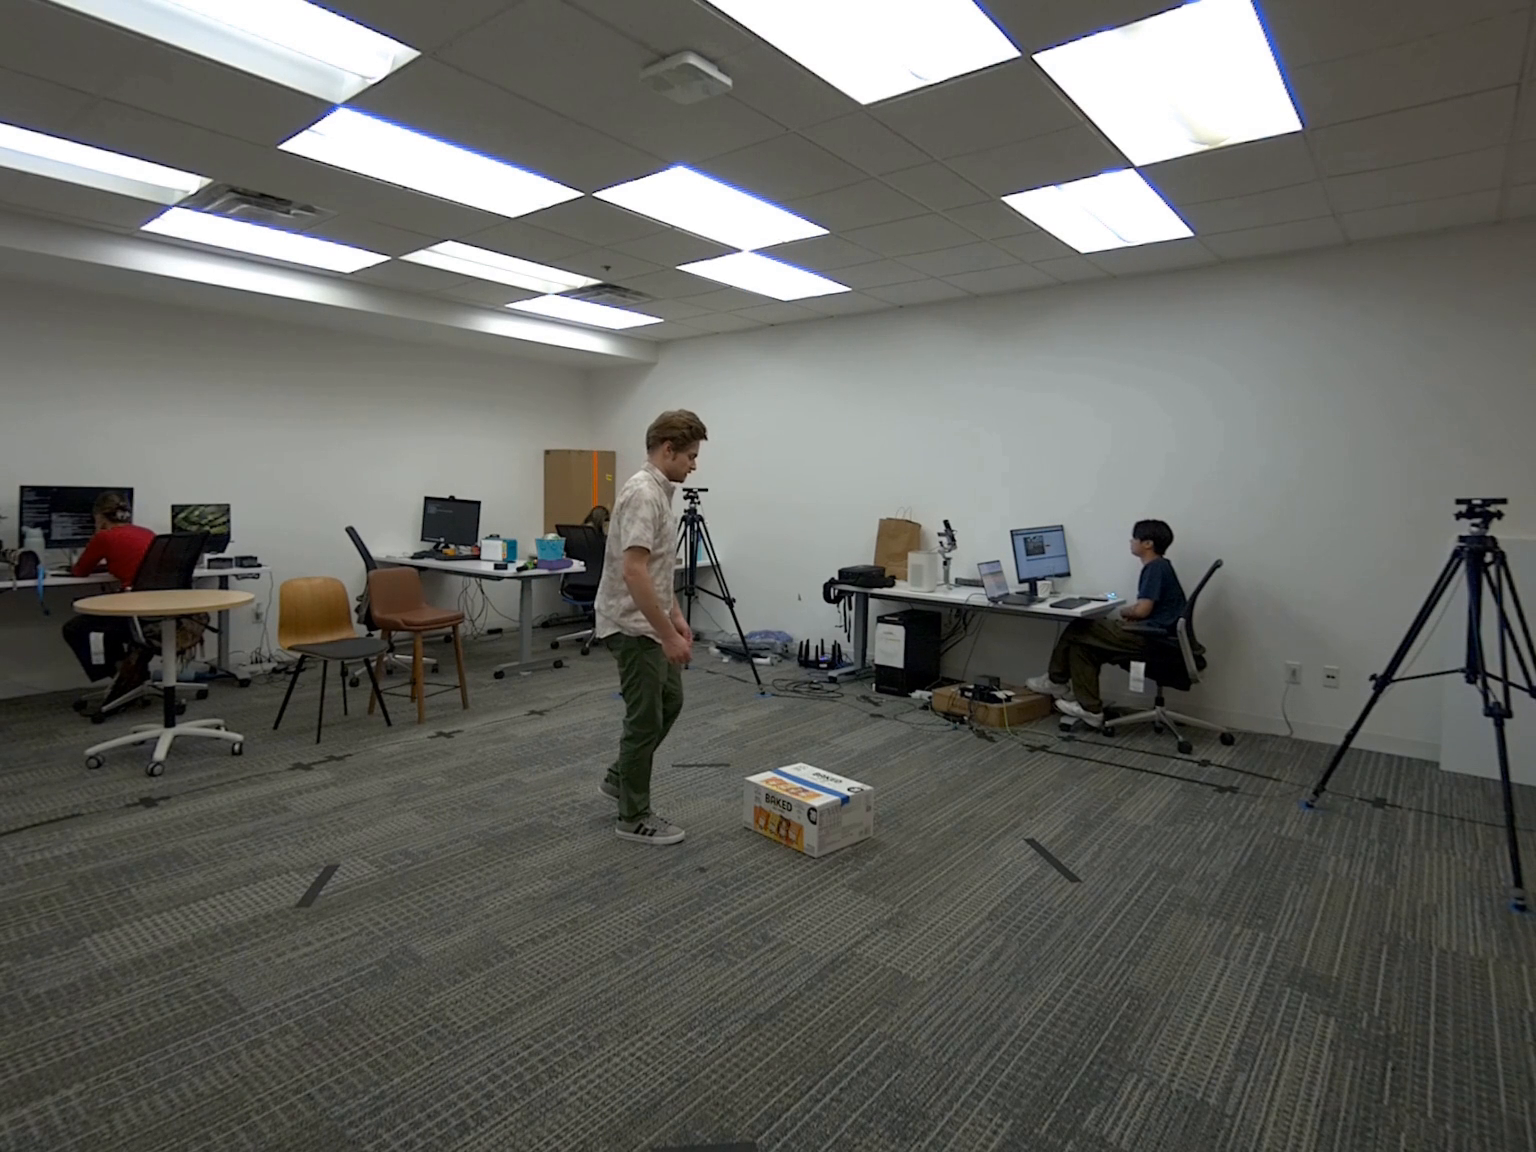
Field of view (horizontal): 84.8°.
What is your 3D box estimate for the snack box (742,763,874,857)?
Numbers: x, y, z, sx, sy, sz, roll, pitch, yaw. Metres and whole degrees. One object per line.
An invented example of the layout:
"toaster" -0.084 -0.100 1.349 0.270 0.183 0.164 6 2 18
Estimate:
"snack box" 0.156 0.942 3.467 0.330 0.205 0.419 -4 7 -42
